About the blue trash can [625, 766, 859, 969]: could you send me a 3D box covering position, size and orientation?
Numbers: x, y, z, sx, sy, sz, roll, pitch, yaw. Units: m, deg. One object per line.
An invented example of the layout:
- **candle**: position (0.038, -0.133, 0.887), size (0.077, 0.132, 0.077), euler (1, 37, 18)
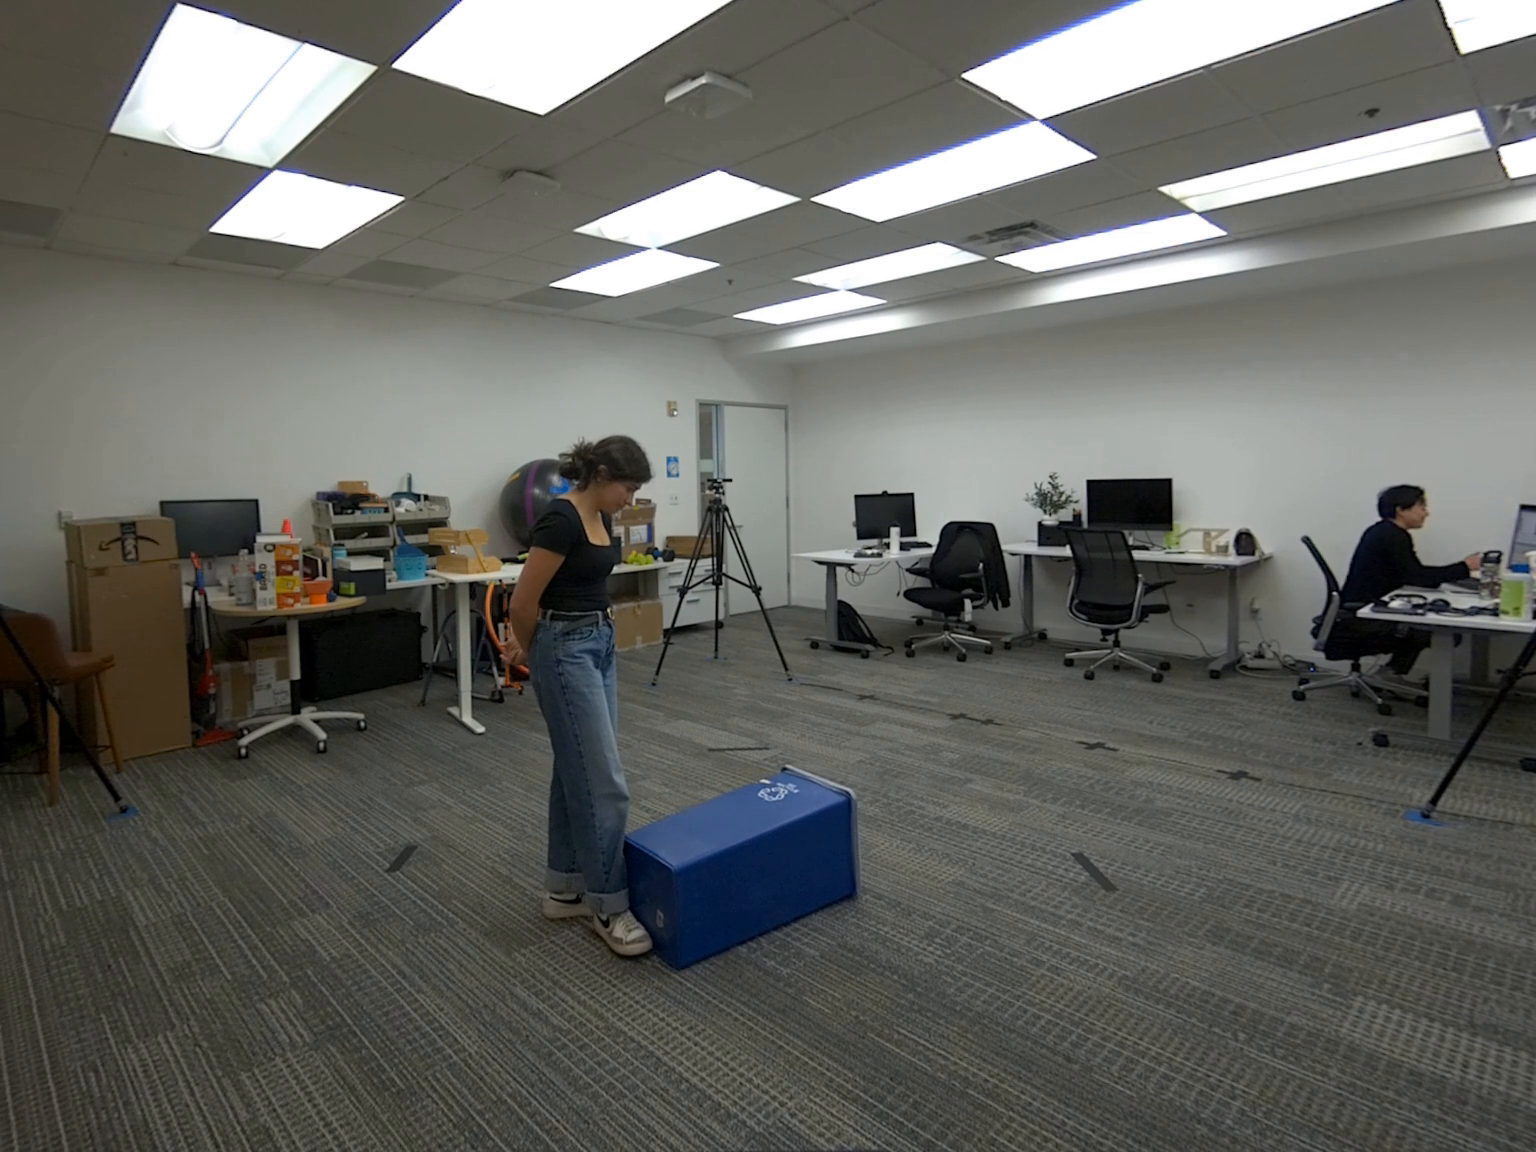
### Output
- **blue trash can**: position (-0.079, 0.922, 2.743), size (0.697, 0.376, 0.385), euler (-10, 10, -39)
